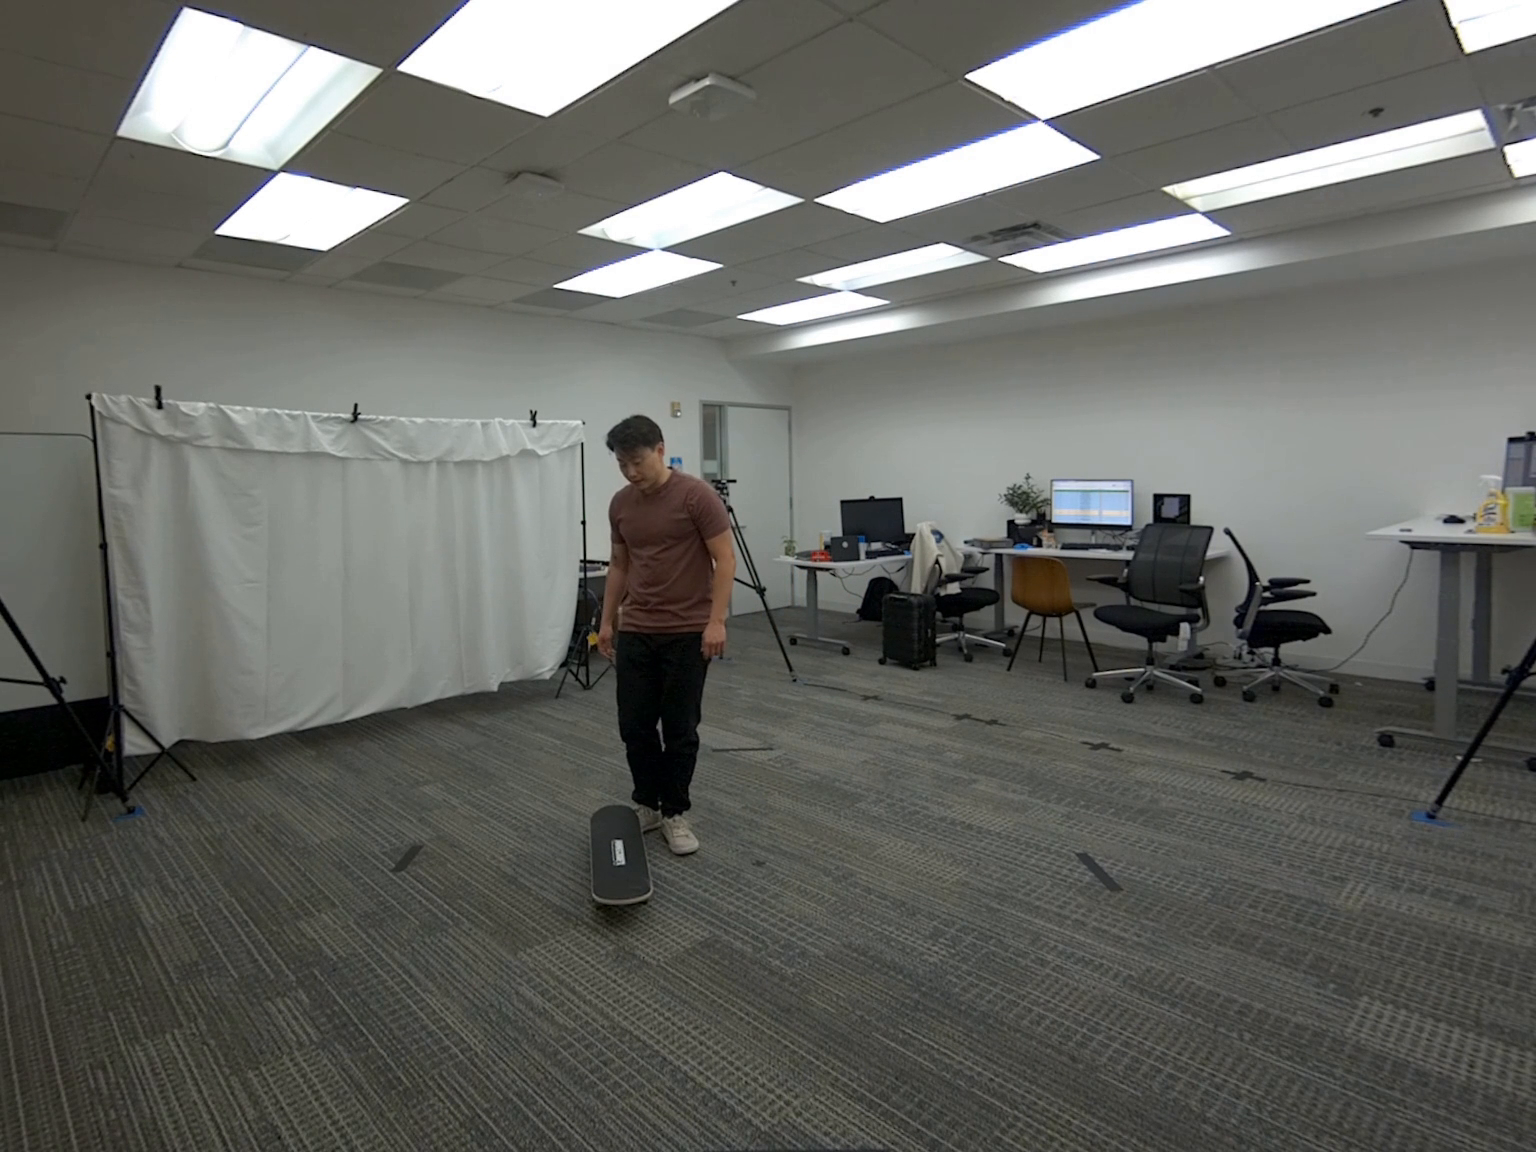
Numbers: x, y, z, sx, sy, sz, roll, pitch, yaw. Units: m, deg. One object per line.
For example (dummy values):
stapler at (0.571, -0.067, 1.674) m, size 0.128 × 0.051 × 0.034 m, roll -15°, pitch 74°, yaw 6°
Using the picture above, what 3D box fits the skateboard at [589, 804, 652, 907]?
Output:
skateboard at (-0.527, 1.013, 3.019) m, size 0.191 × 0.110 × 0.797 m, roll -3°, pitch 7°, yaw -11°
